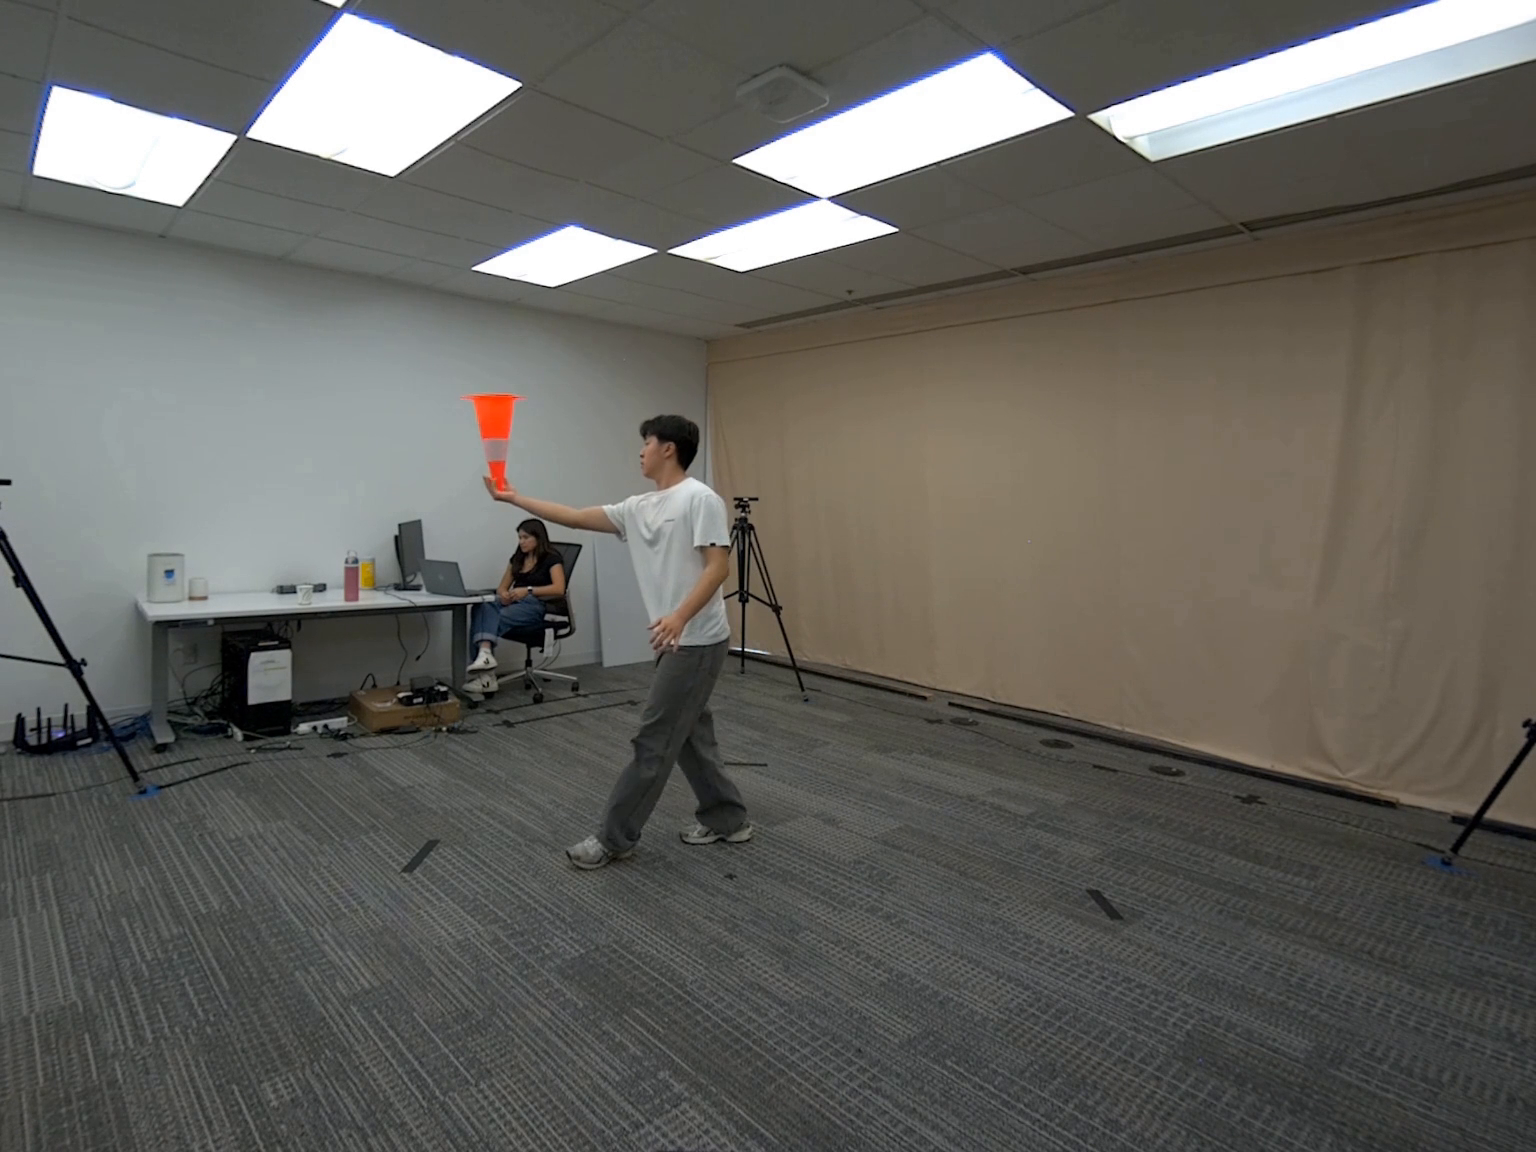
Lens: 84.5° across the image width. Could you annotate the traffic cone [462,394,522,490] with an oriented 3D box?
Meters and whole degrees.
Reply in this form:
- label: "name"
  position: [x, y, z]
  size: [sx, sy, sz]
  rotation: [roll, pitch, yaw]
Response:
- label: "traffic cone"
  position: [-1.098, -0.517, 3.377]
  size: [0.207, 0.383, 0.202]
  rotation: [-1, 3, 13]
